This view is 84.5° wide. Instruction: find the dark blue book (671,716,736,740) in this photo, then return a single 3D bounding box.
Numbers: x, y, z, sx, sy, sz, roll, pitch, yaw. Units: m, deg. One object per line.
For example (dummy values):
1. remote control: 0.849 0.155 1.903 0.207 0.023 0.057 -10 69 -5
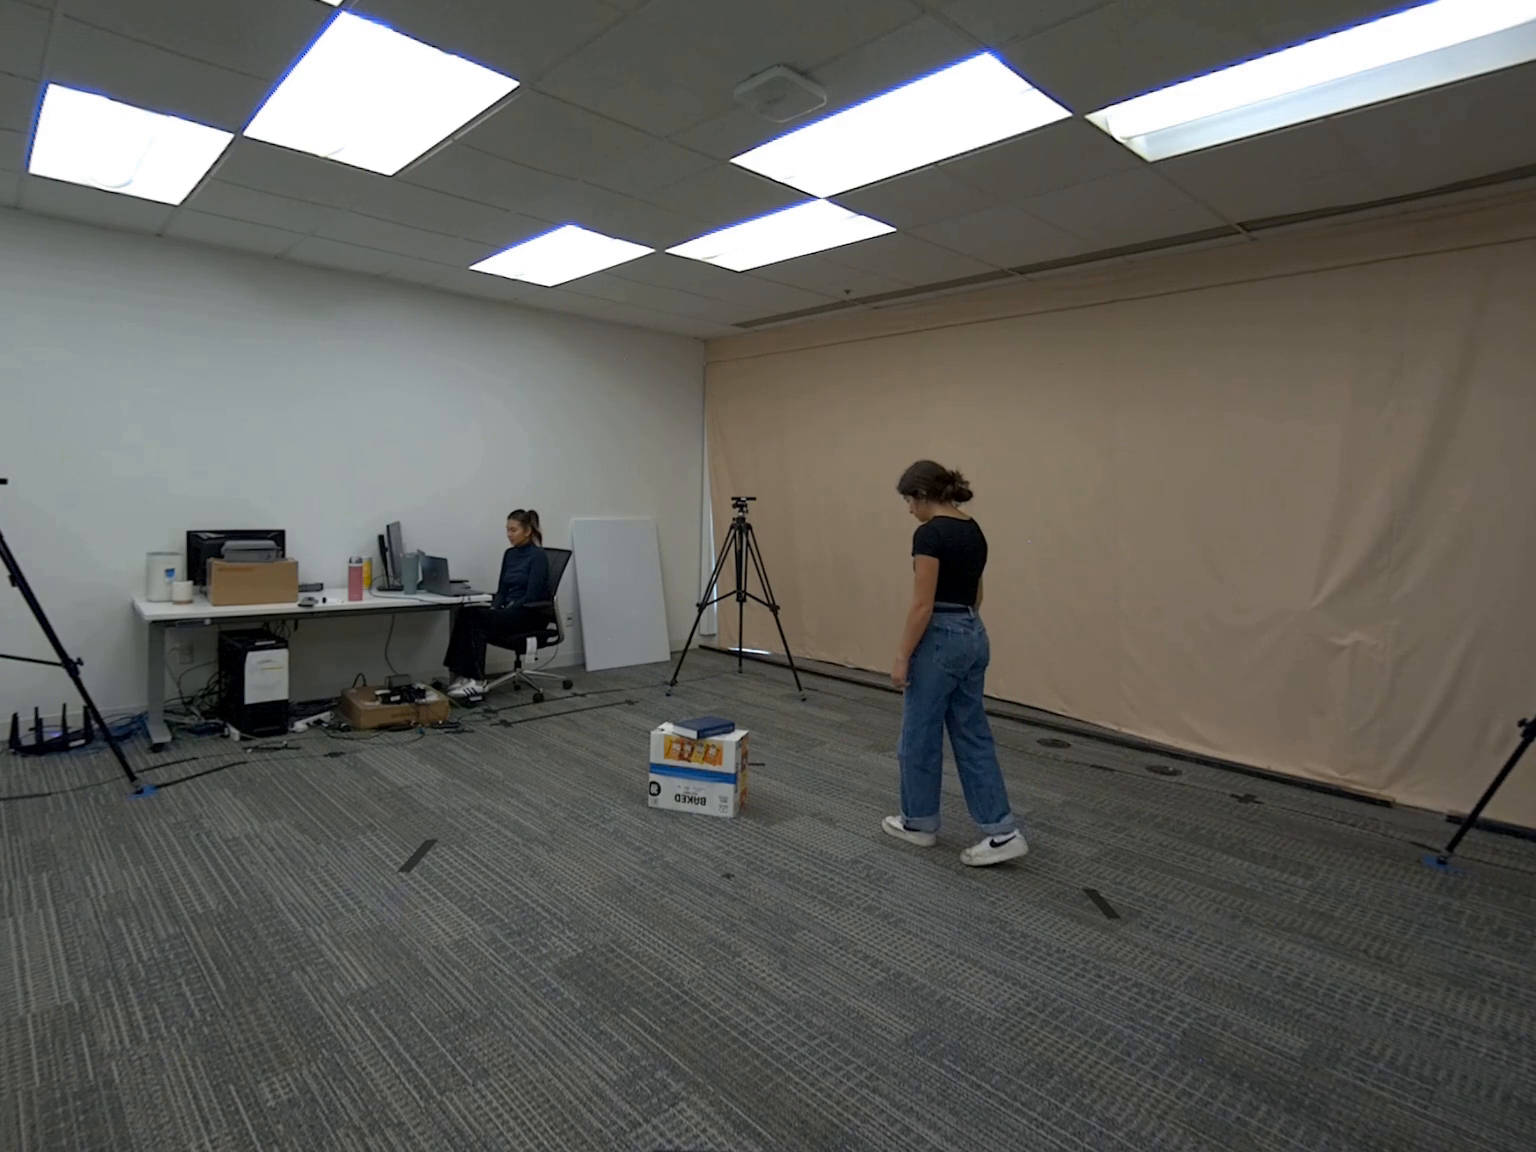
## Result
1. dark blue book: -0.298 0.674 3.801 0.167 0.045 0.239 5 5 41
